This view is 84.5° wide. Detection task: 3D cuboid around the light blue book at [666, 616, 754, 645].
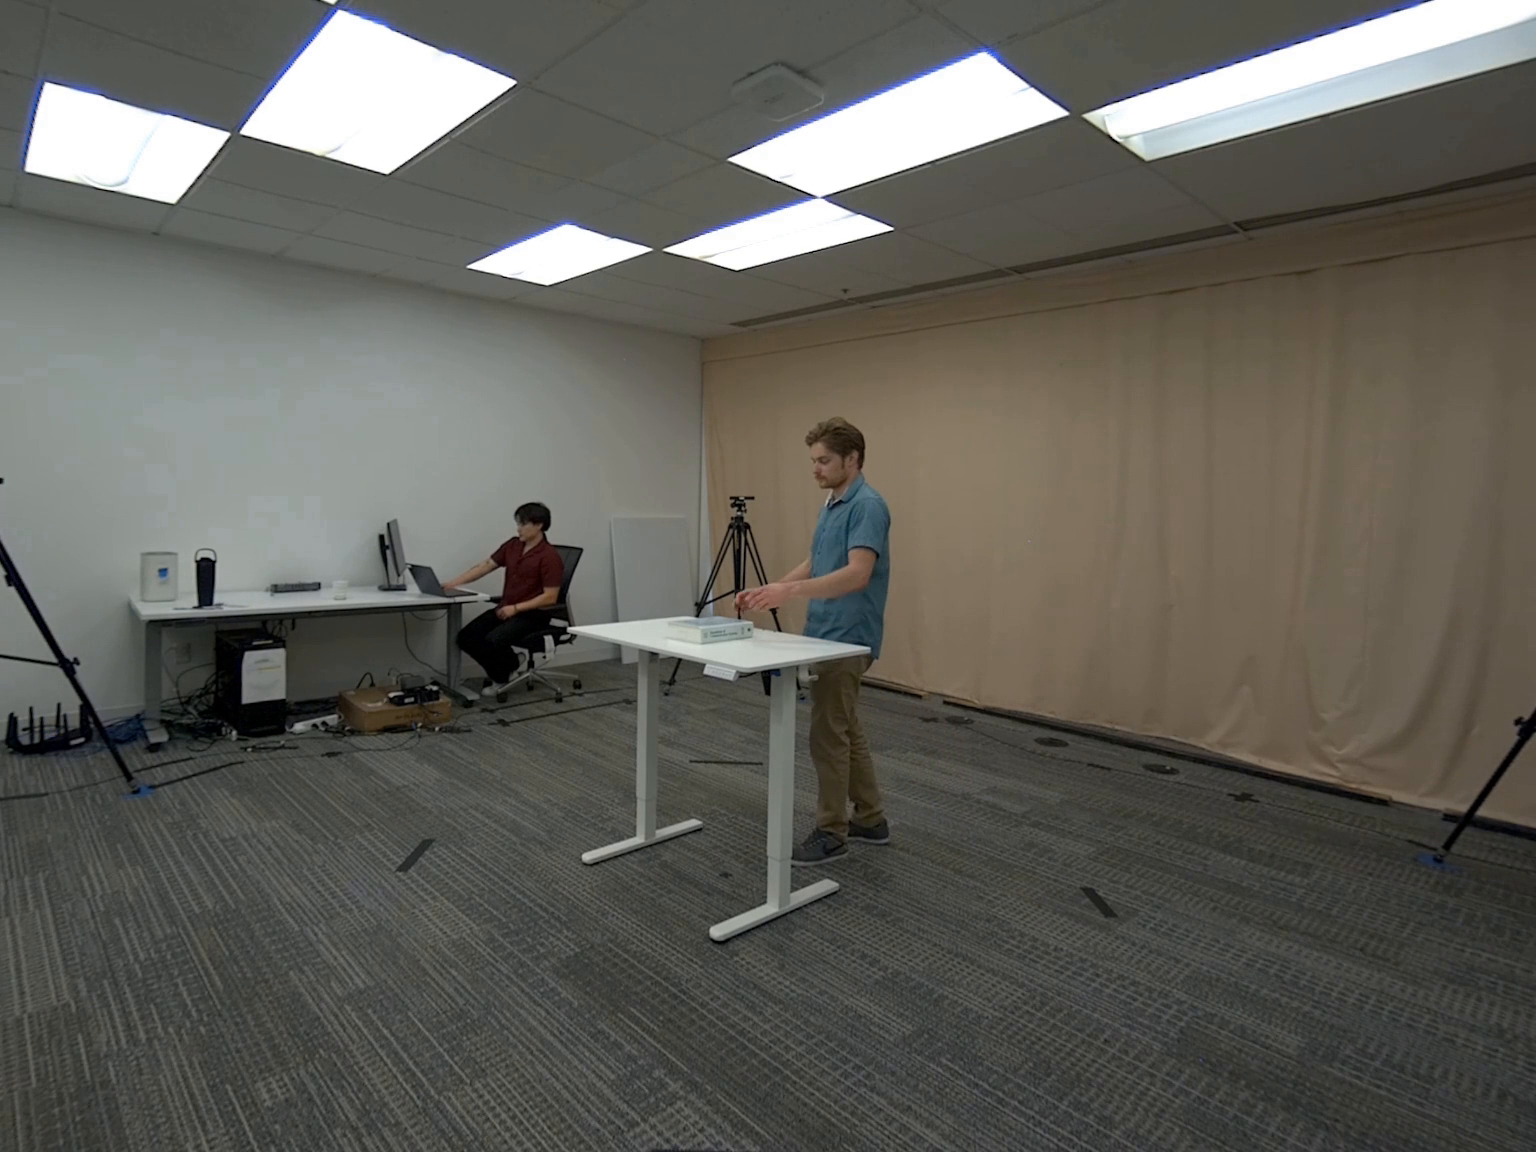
[{"bbox_3d":[-0.216,0.195,3.058,0.196,0.059,0.255,6,7,44],"label":"light blue book"}]
